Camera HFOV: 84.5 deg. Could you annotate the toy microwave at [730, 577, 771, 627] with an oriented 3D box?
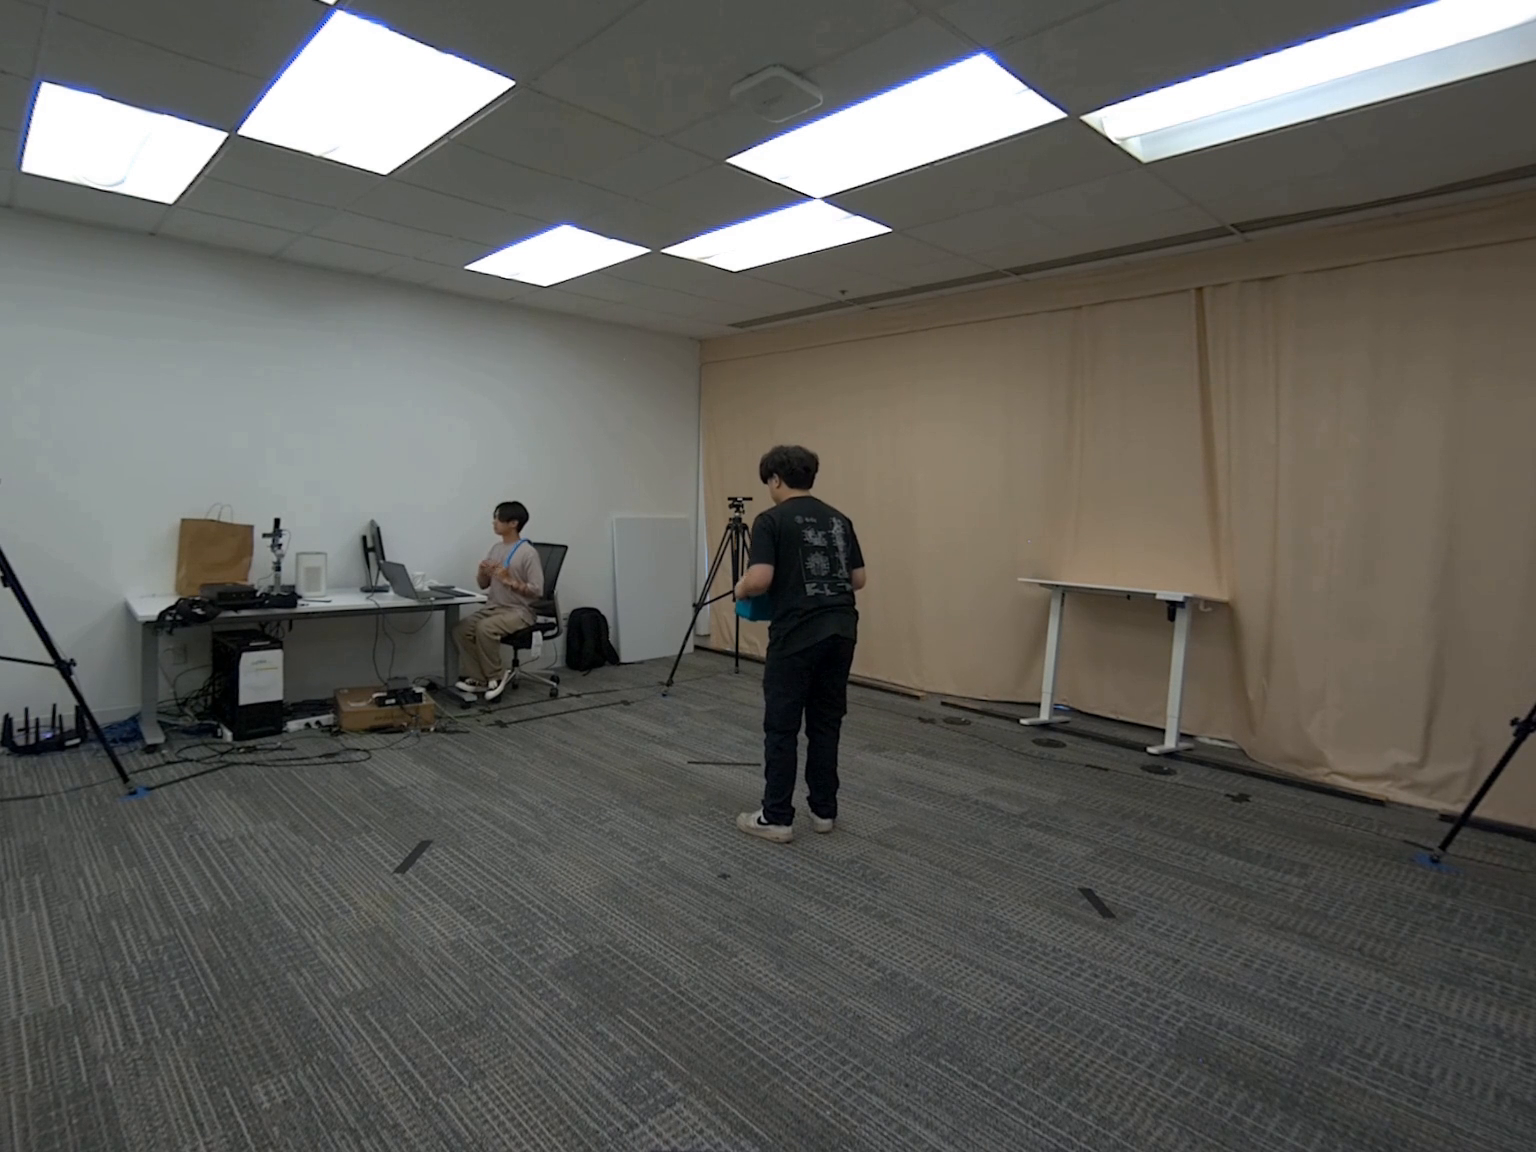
[{"bbox_3d":[0.002,0.117,3.792,0.279,0.183,0.156,5,8,-34],"label":"toy microwave"}]
